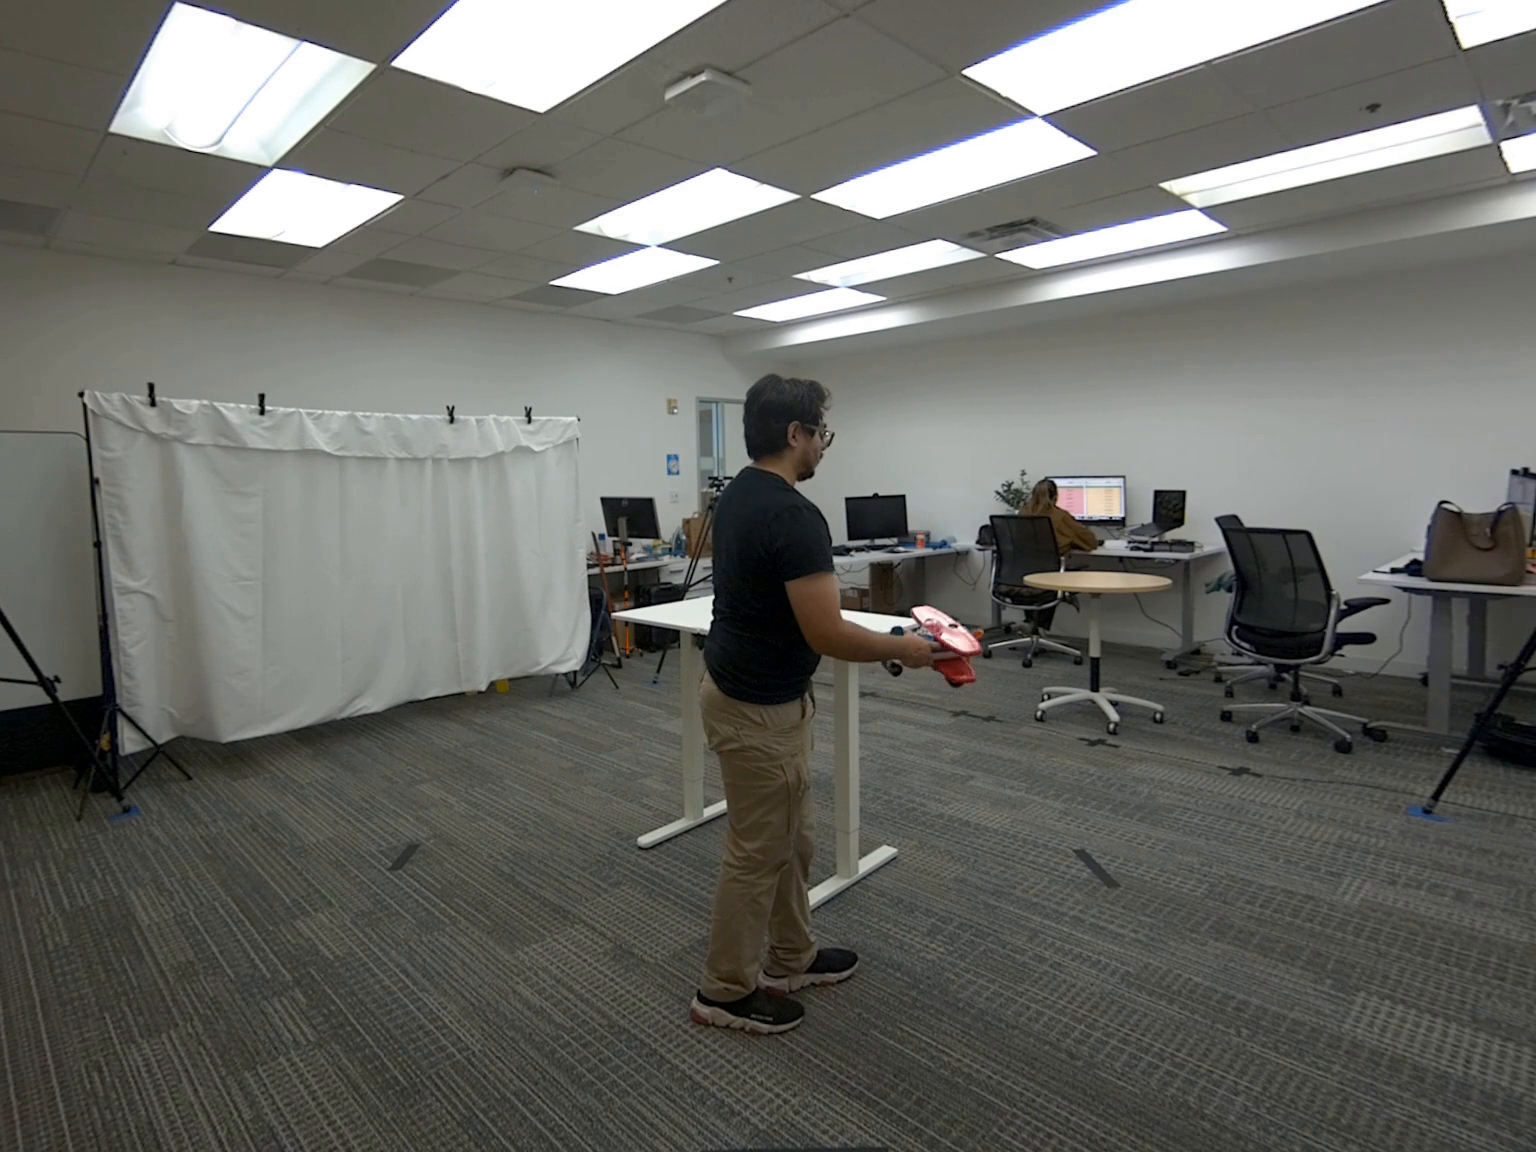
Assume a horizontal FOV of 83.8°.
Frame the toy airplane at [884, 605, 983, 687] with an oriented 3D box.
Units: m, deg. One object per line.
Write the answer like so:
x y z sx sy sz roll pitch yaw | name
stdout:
0.425 0.191 2.203 0.260 0.155 0.252 28 20 33 | toy airplane
